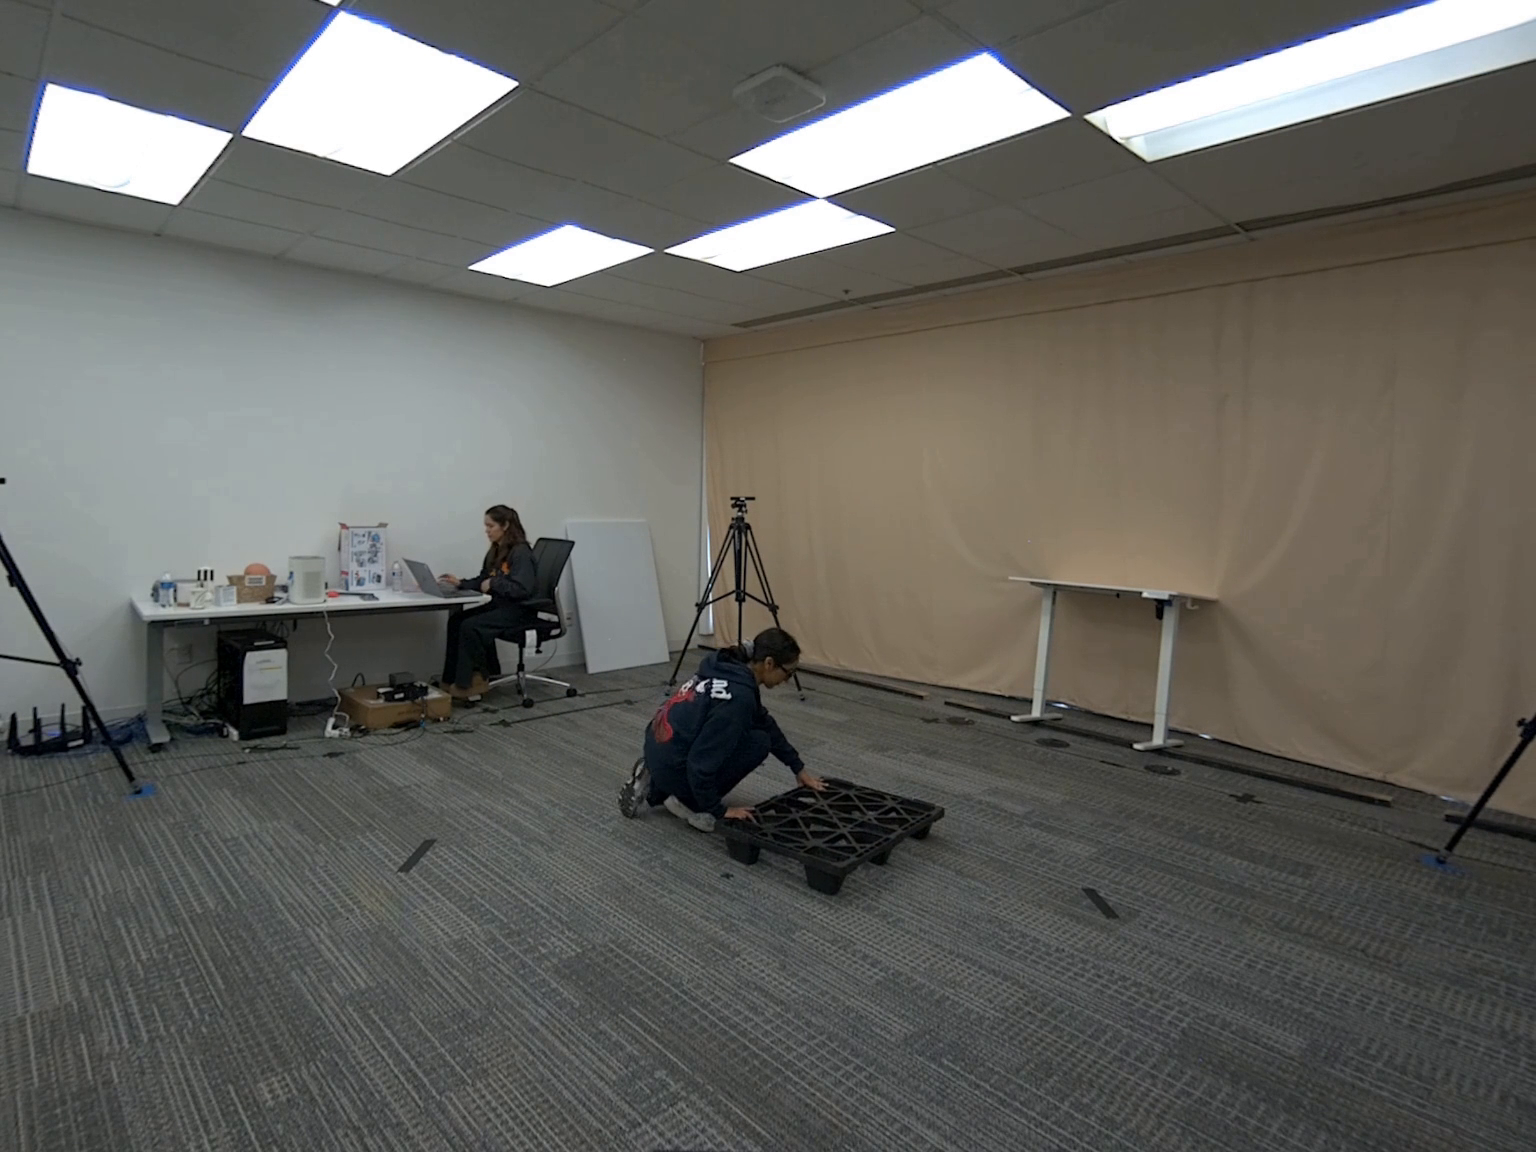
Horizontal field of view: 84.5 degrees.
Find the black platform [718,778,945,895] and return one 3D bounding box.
[{"bbox_3d":[0.244,1.022,3.384,0.620,0.143,0.788,5,6,38],"label":"black platform"}]
